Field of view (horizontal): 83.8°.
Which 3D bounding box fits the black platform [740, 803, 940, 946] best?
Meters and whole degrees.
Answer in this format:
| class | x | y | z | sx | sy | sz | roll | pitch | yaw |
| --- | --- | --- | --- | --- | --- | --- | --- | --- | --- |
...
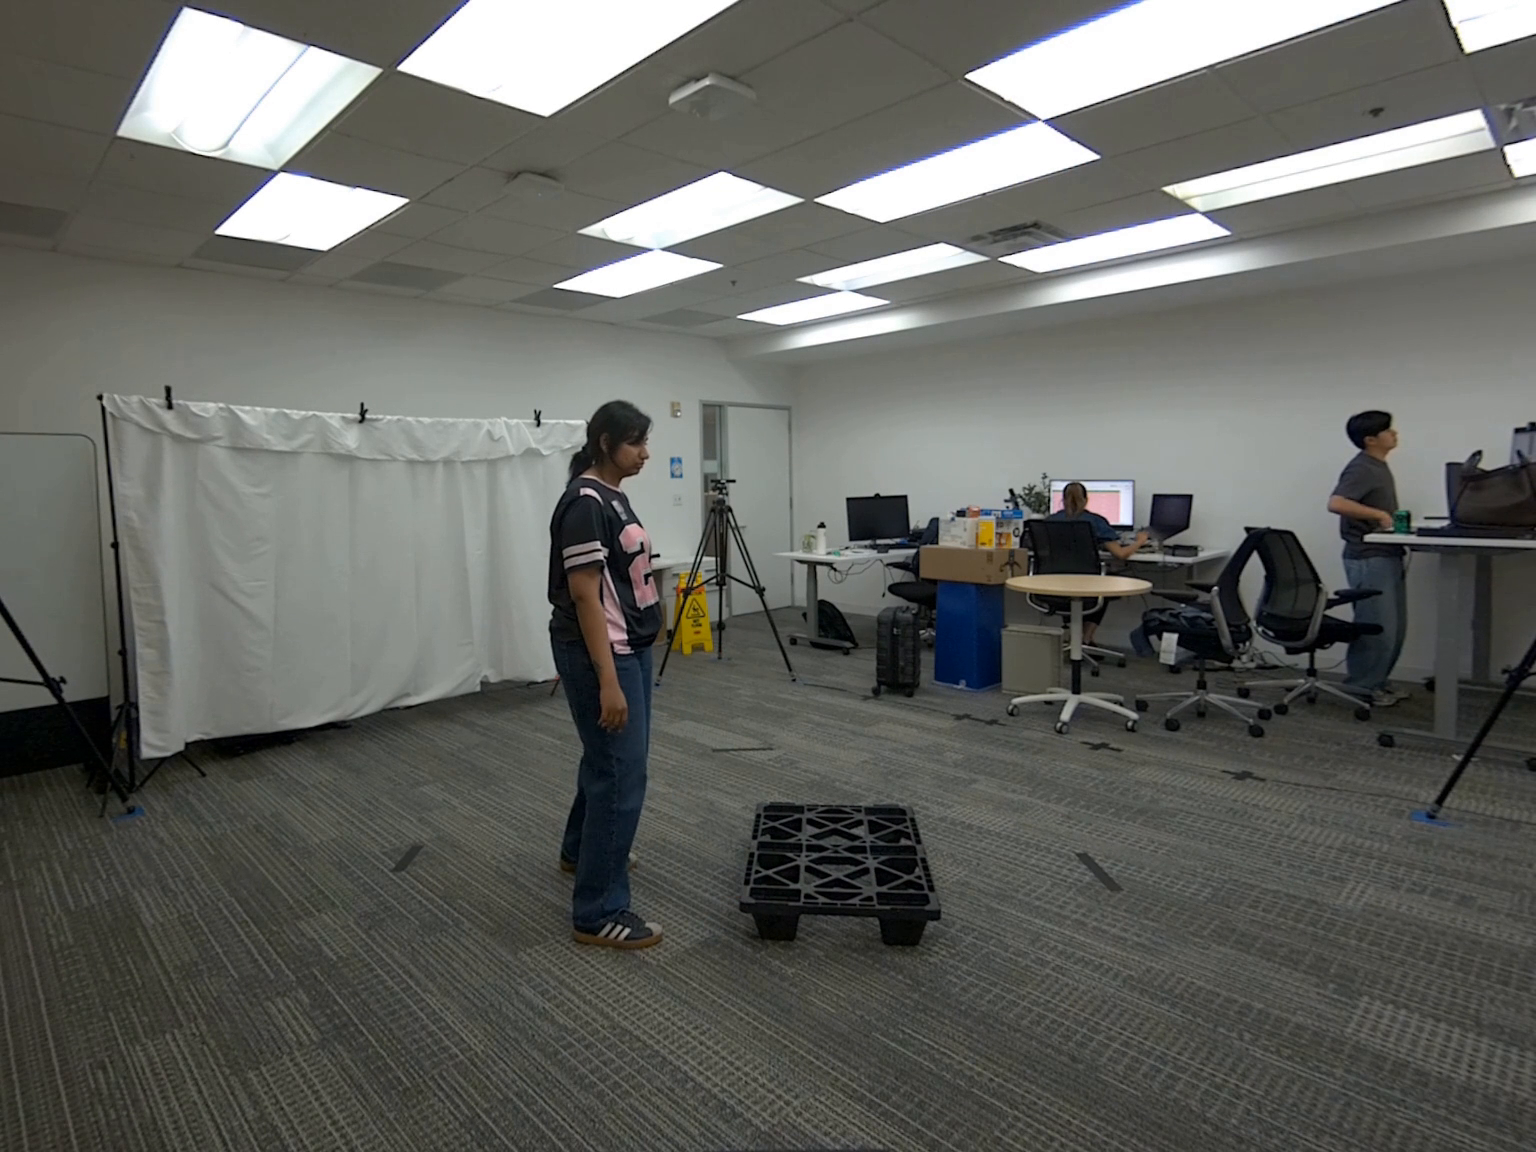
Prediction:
| class | x | y | z | sx | sy | sz | roll | pitch | yaw |
| --- | --- | --- | --- | --- | --- | --- | --- | --- | --- |
| black platform | 0.233 | 0.995 | 2.926 | 0.609 | 0.143 | 0.805 | -1 | 6 | 5 |
